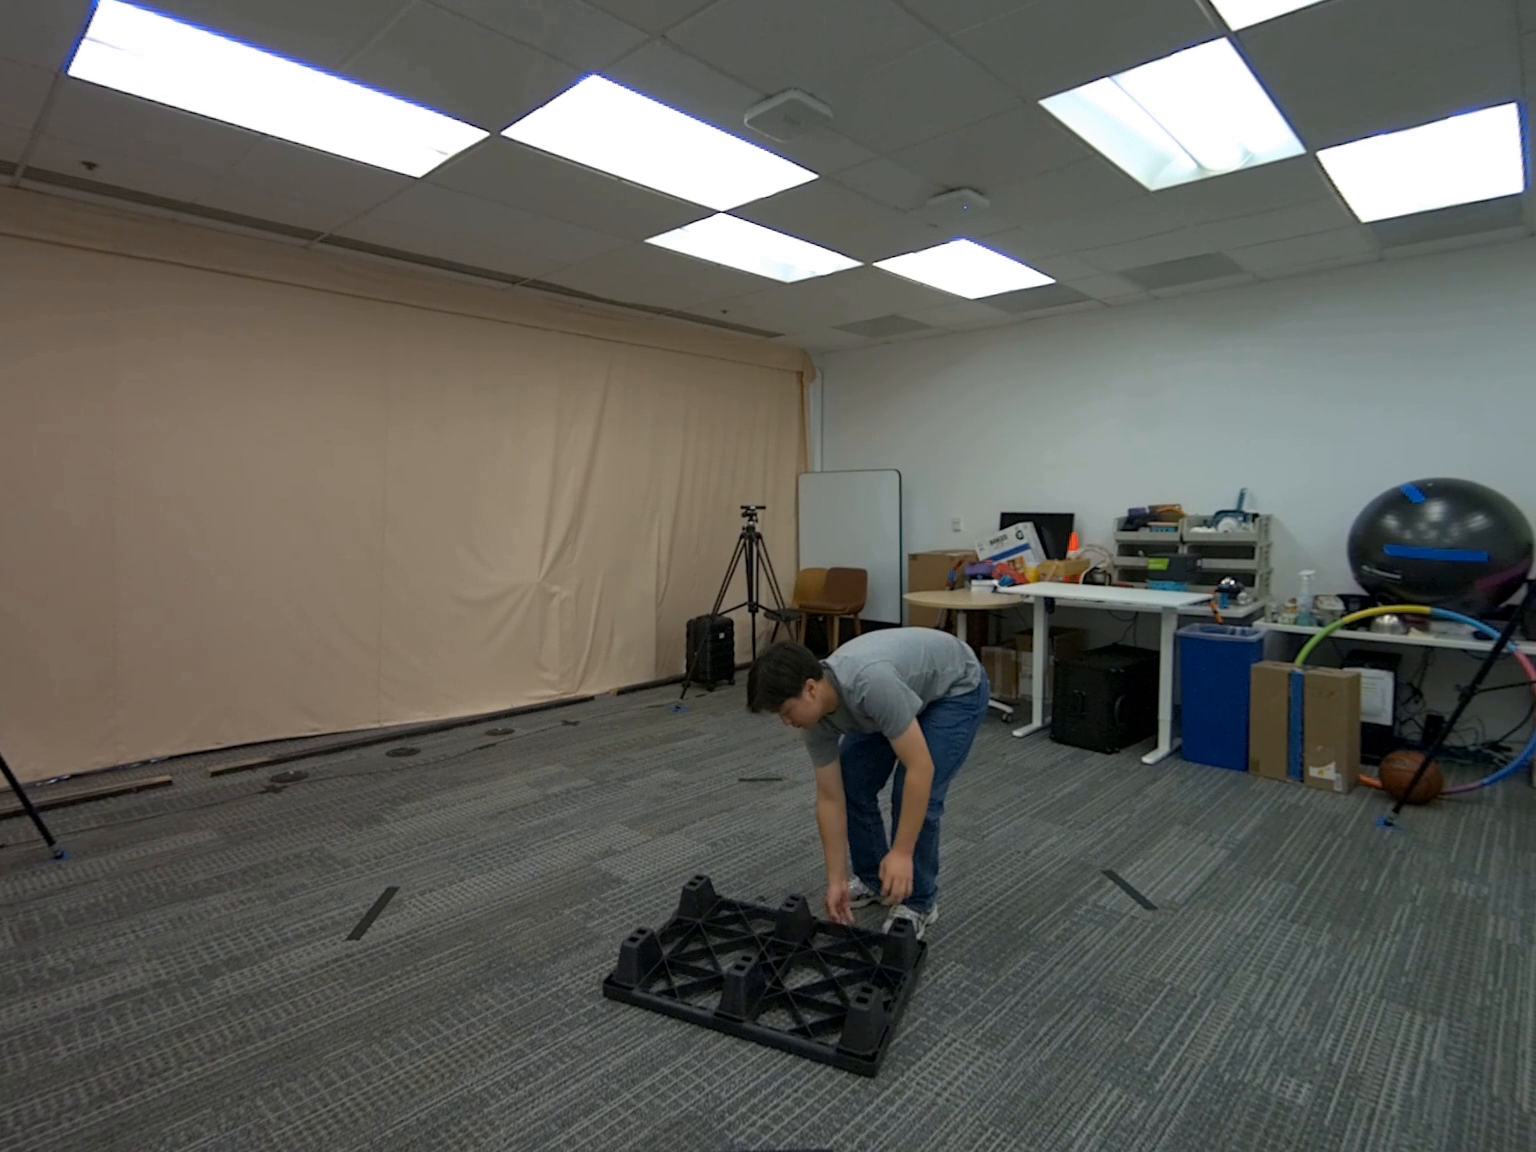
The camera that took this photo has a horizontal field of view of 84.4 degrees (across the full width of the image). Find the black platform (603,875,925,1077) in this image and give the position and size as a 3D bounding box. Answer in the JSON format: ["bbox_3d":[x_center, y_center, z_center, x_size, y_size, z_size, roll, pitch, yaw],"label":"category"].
[{"bbox_3d":[0.001,1.110,2.469,0.826,0.143,0.592,2,7,25],"label":"black platform"}]
